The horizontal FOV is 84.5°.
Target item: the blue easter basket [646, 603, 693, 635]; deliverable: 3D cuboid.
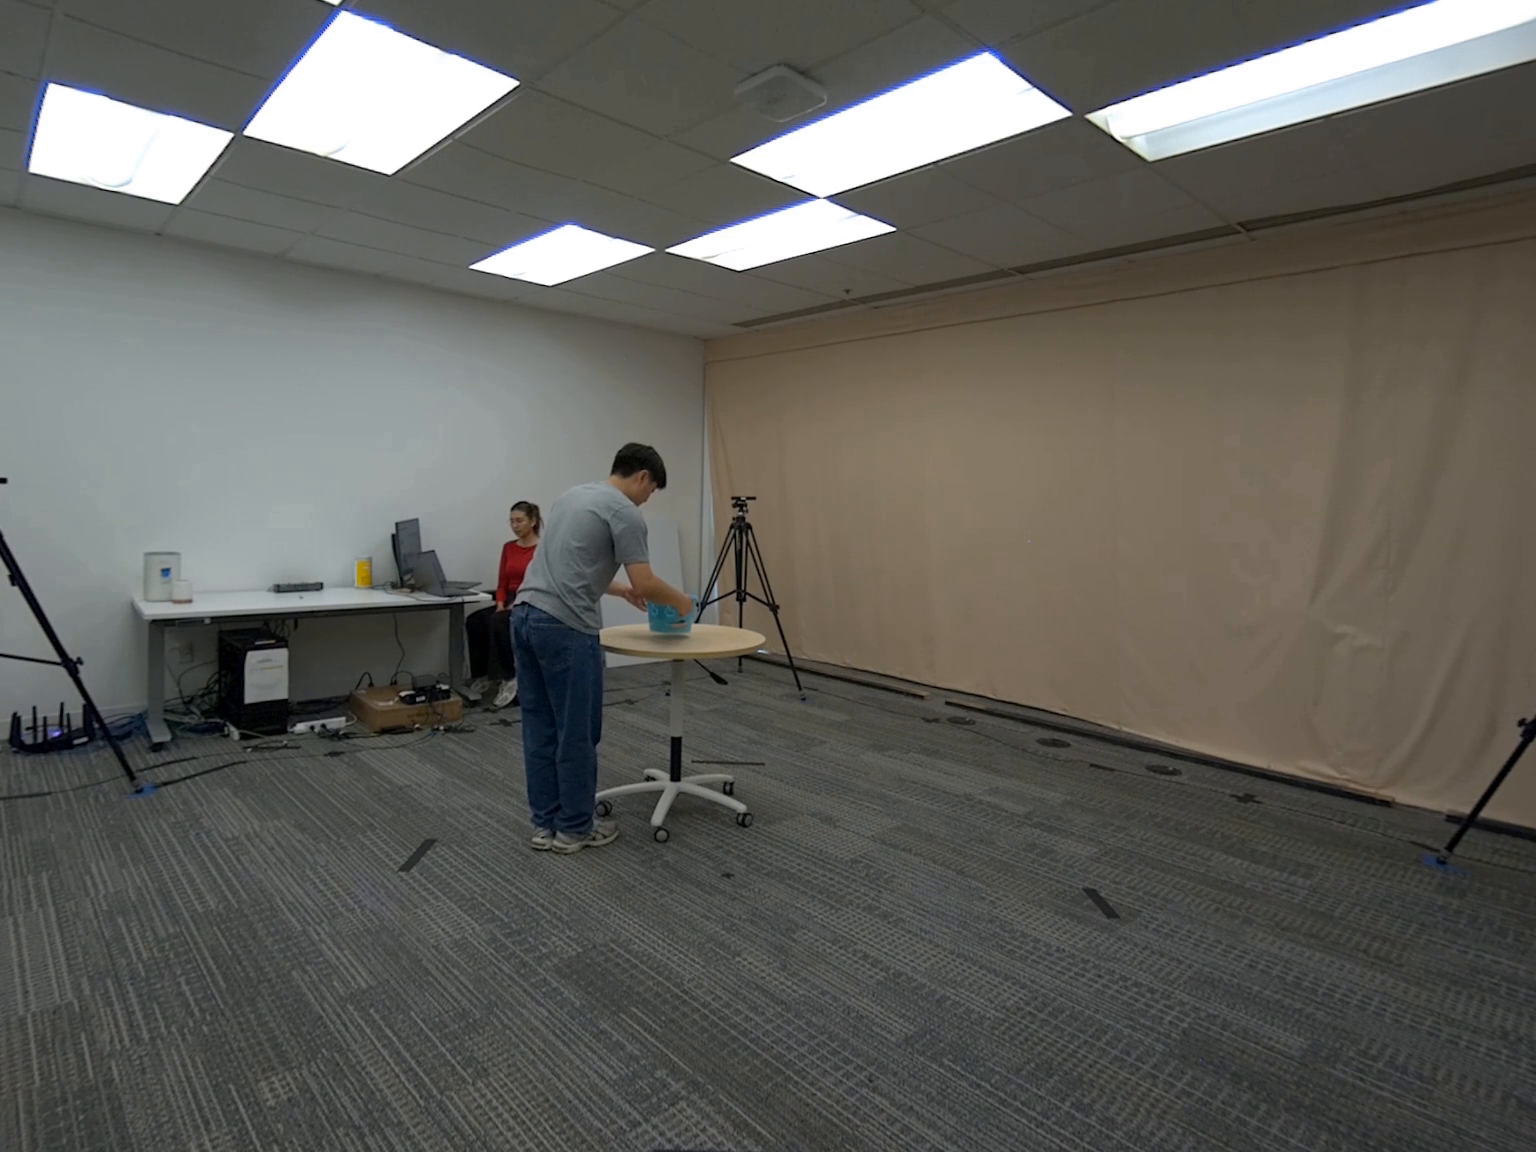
[{"bbox_3d":[-0.434,0.167,3.671,0.243,0.156,0.244,1,3,-1],"label":"blue easter basket"}]
